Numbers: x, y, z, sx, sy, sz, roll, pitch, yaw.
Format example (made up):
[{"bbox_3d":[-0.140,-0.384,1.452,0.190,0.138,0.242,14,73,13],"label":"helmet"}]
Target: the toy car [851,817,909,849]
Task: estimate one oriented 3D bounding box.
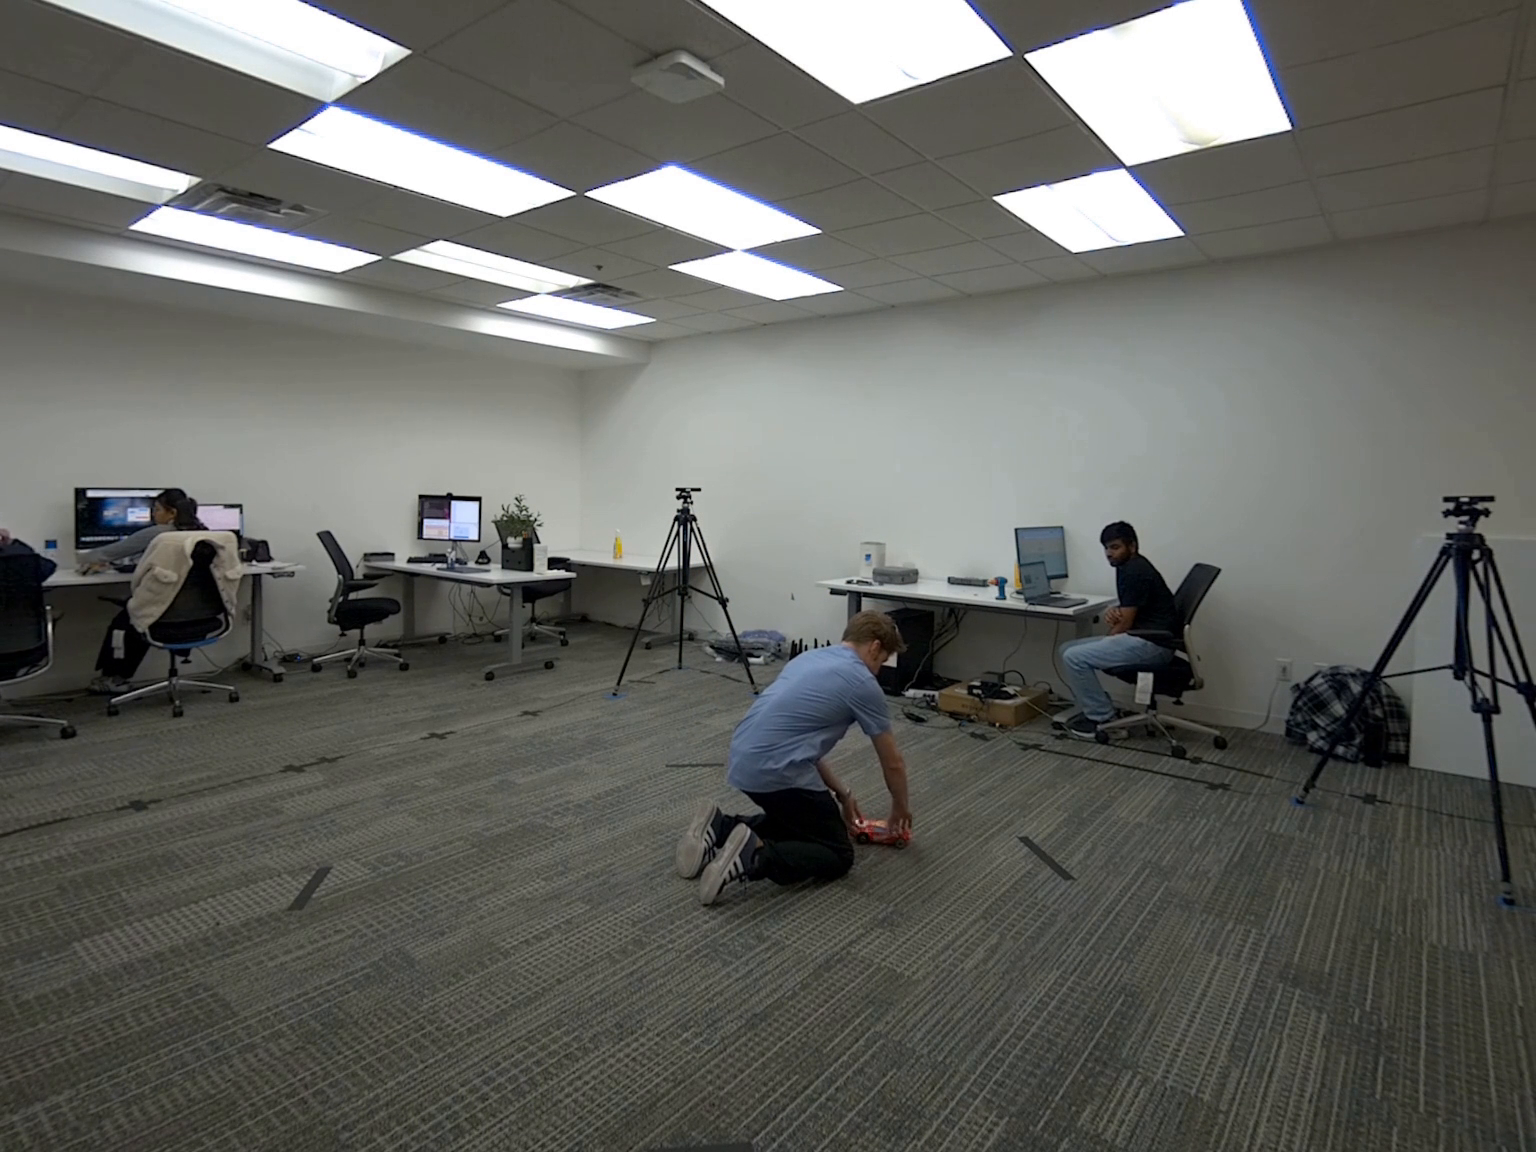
[{"bbox_3d":[0.434,1.026,3.394,0.258,0.083,0.129,16,5,10],"label":"toy car"}]
